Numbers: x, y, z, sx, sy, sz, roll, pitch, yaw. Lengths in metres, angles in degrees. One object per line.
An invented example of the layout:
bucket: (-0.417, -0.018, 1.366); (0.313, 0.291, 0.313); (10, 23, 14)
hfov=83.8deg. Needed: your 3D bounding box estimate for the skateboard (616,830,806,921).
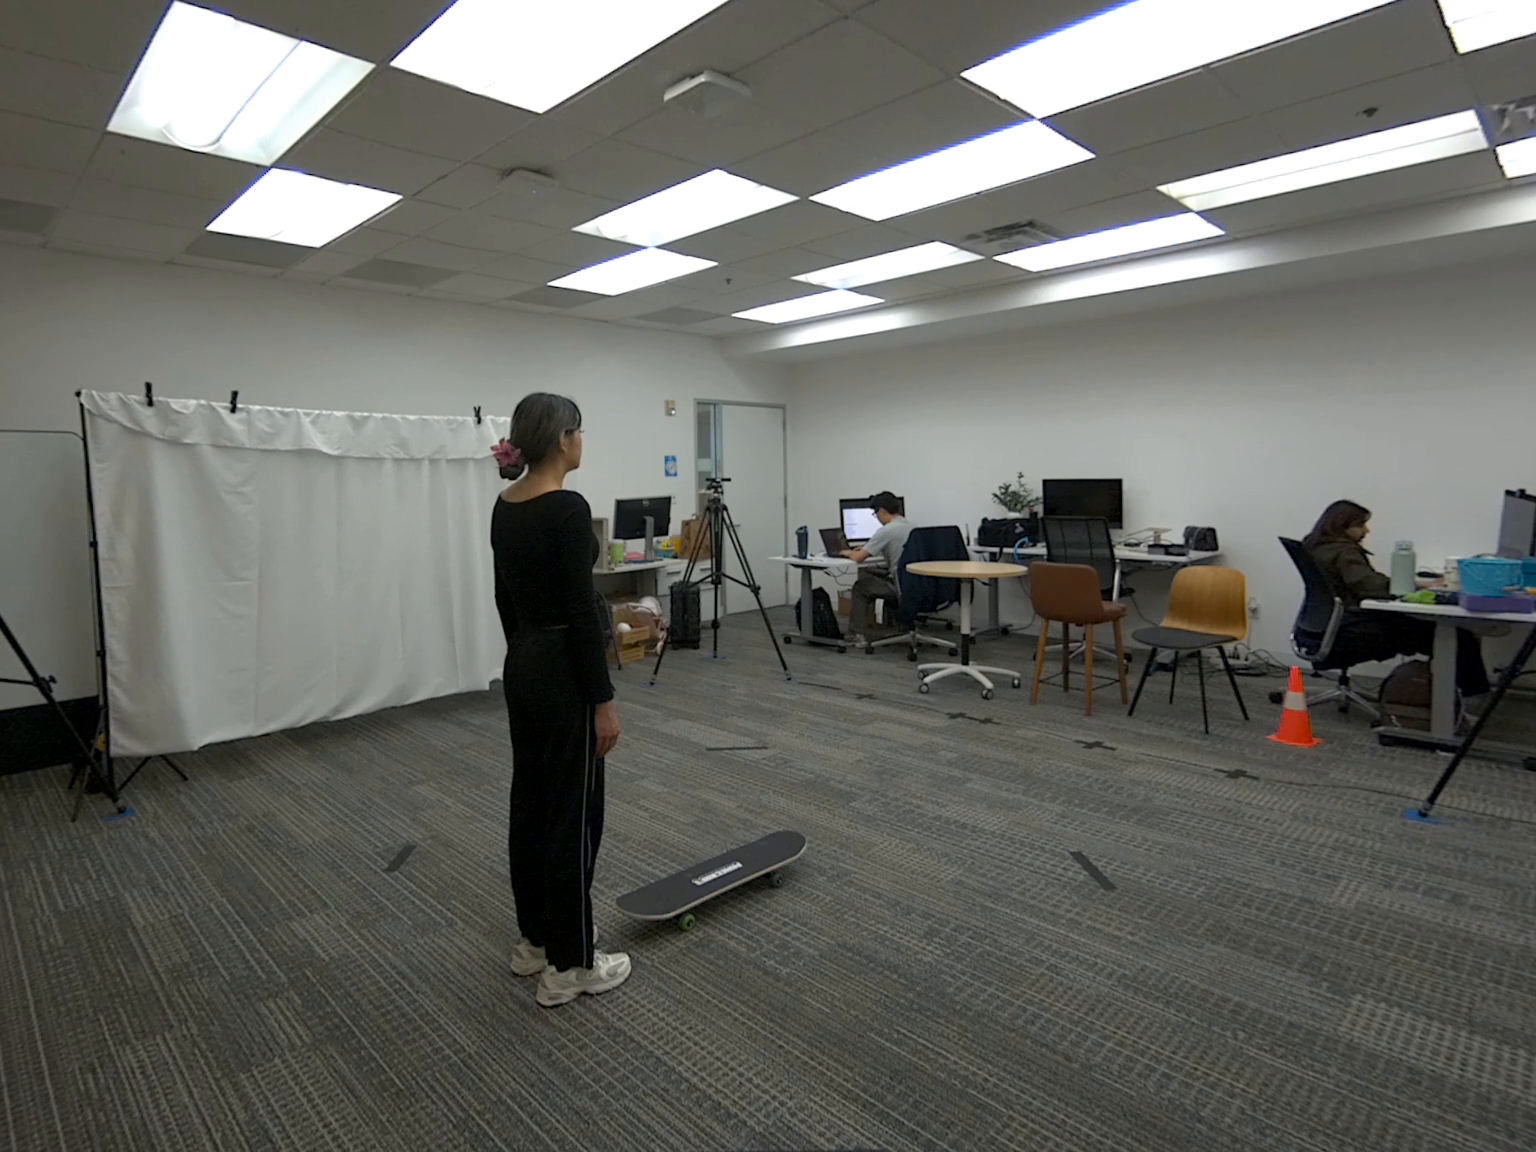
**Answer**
skateboard: (-0.165, 1.020, 2.840); (0.765, 0.110, 0.199); (-8, 8, -44)
